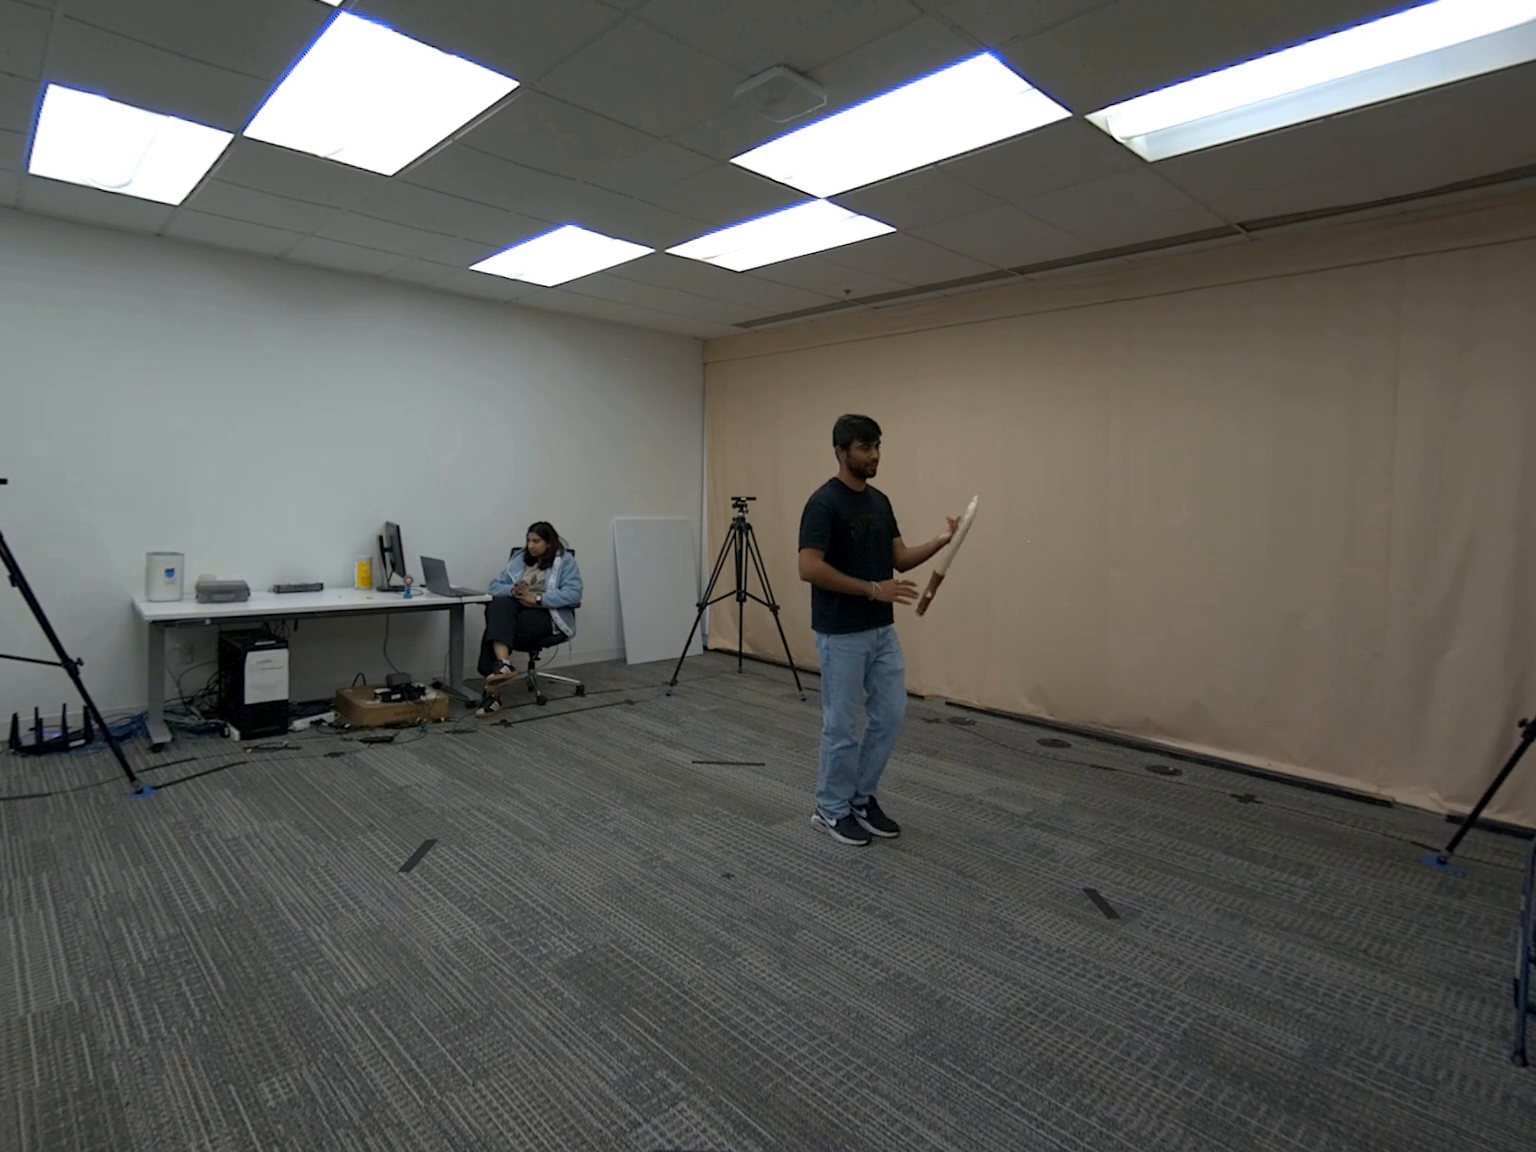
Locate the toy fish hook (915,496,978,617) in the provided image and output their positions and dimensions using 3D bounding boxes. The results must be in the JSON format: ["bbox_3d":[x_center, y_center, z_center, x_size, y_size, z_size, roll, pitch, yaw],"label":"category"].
[{"bbox_3d":[0.660,-0.070,3.219,0.049,0.502,0.223,29,27,12],"label":"toy fish hook"}]
